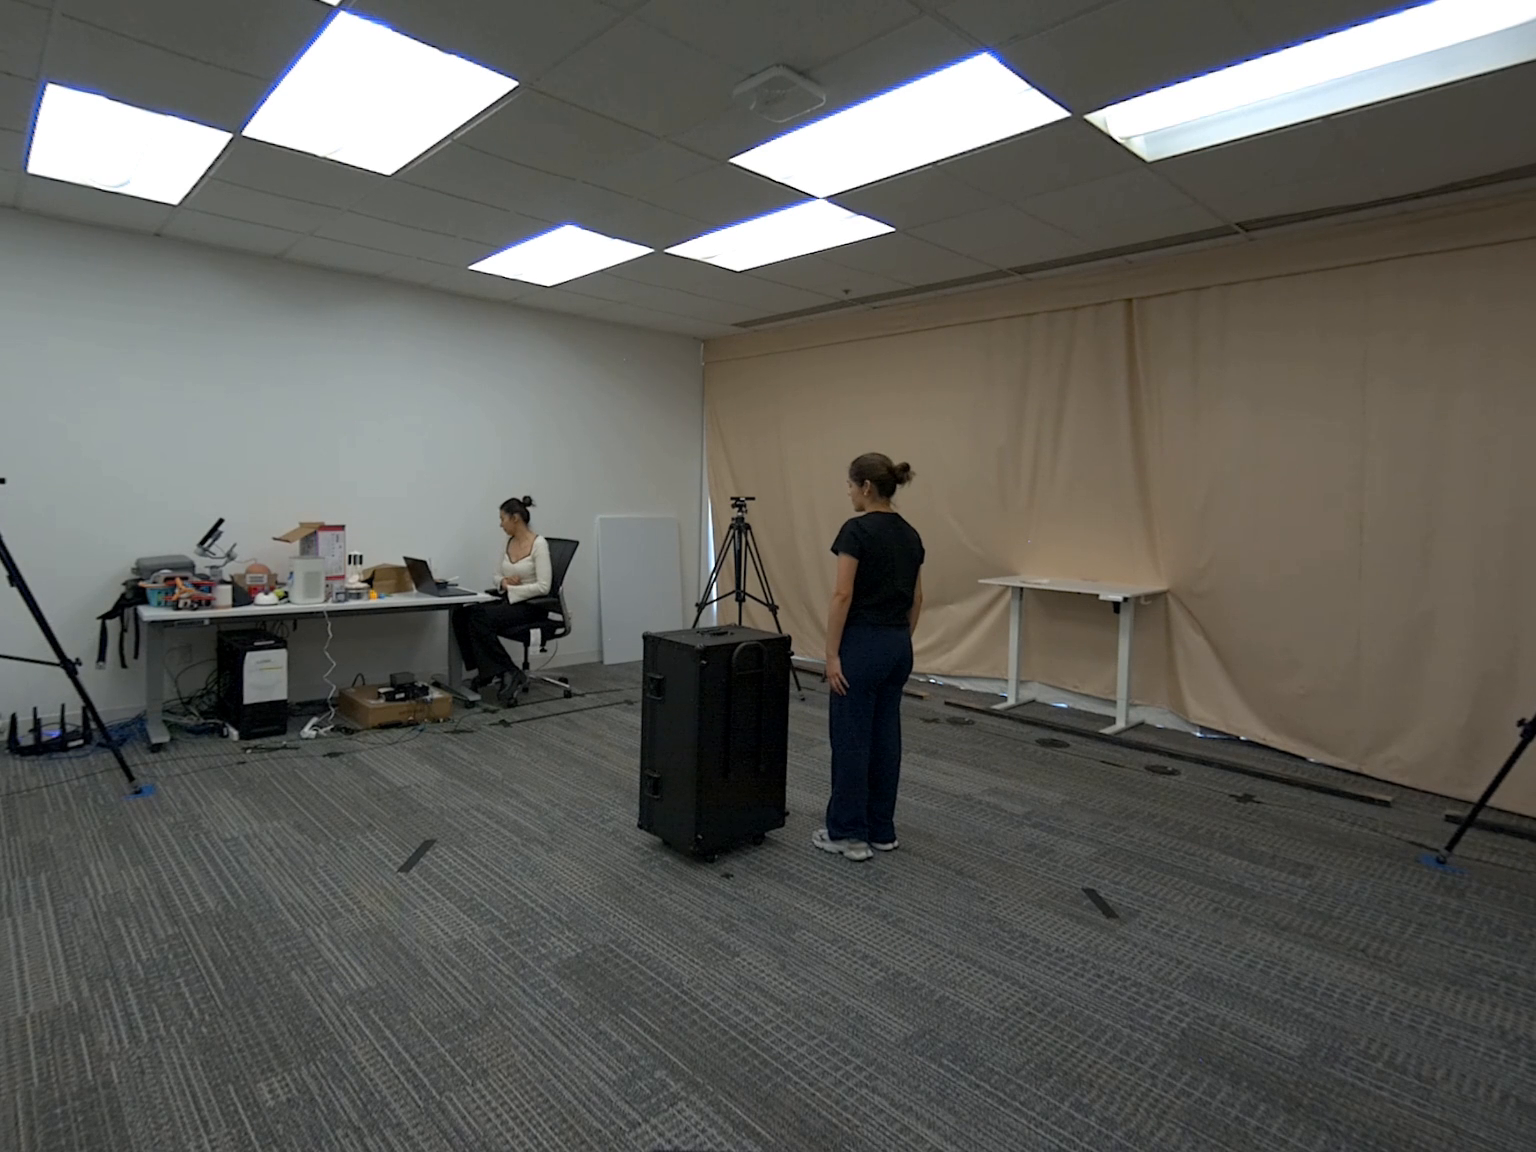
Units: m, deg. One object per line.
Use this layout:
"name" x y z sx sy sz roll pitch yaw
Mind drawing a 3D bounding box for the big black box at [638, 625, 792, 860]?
"big black box" -0.208 0.661 3.346 0.509 0.859 0.406 -1 5 -44
